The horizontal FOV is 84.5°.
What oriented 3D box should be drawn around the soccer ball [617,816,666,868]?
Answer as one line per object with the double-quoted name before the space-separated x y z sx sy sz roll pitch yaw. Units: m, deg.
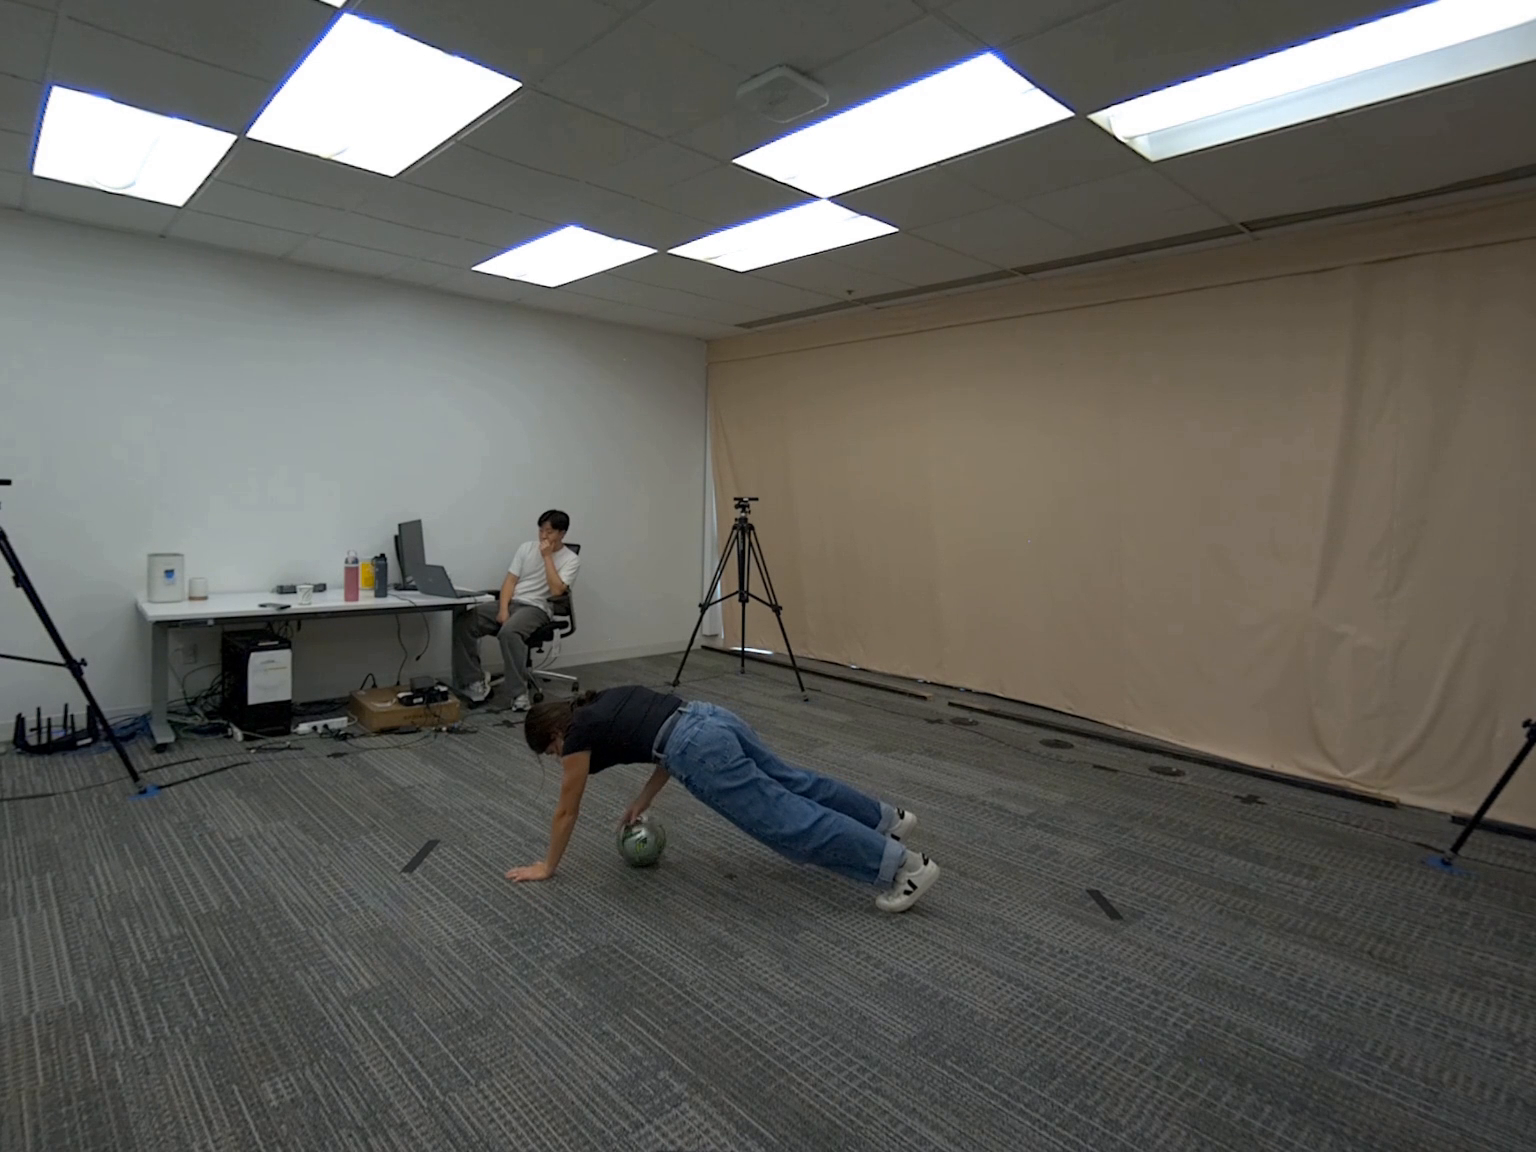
"soccer ball" -0.485 0.995 3.192 0.187 0.187 0.188 1 4 -1
